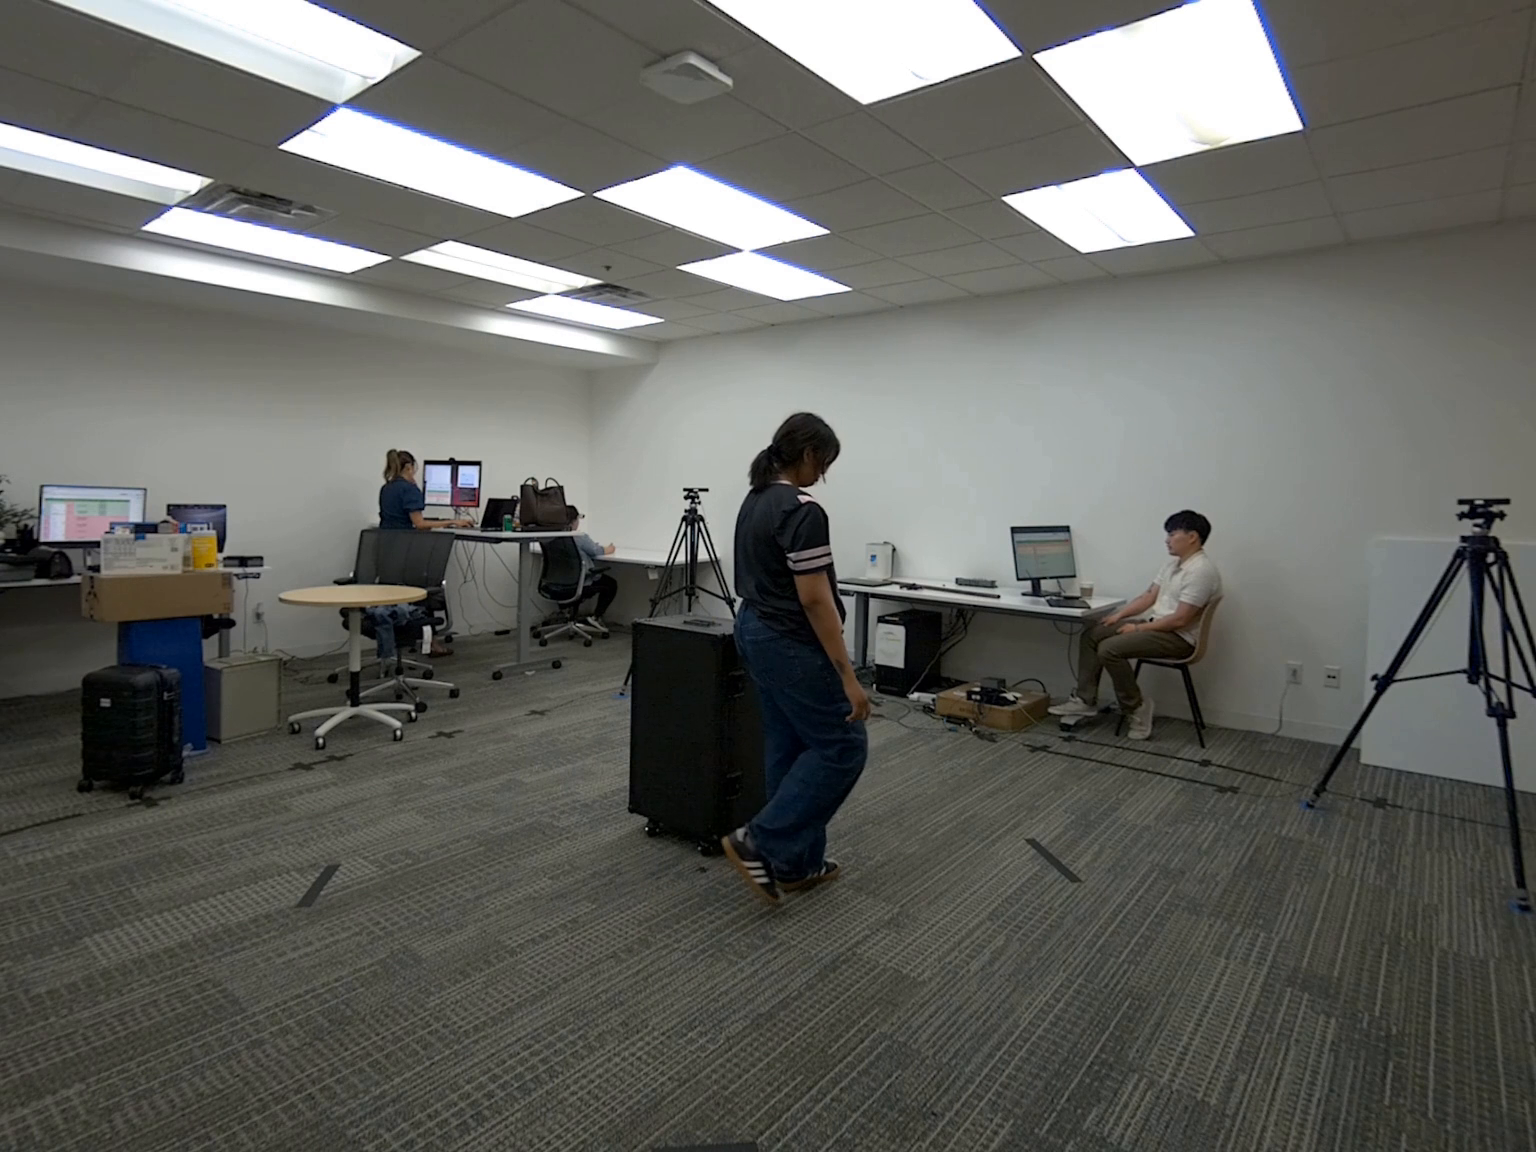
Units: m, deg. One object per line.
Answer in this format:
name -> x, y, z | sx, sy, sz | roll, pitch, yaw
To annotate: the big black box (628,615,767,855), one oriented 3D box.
big black box -> -0.278, 0.613, 3.447 | 0.538, 0.860, 0.384 | 4, 2, 38
